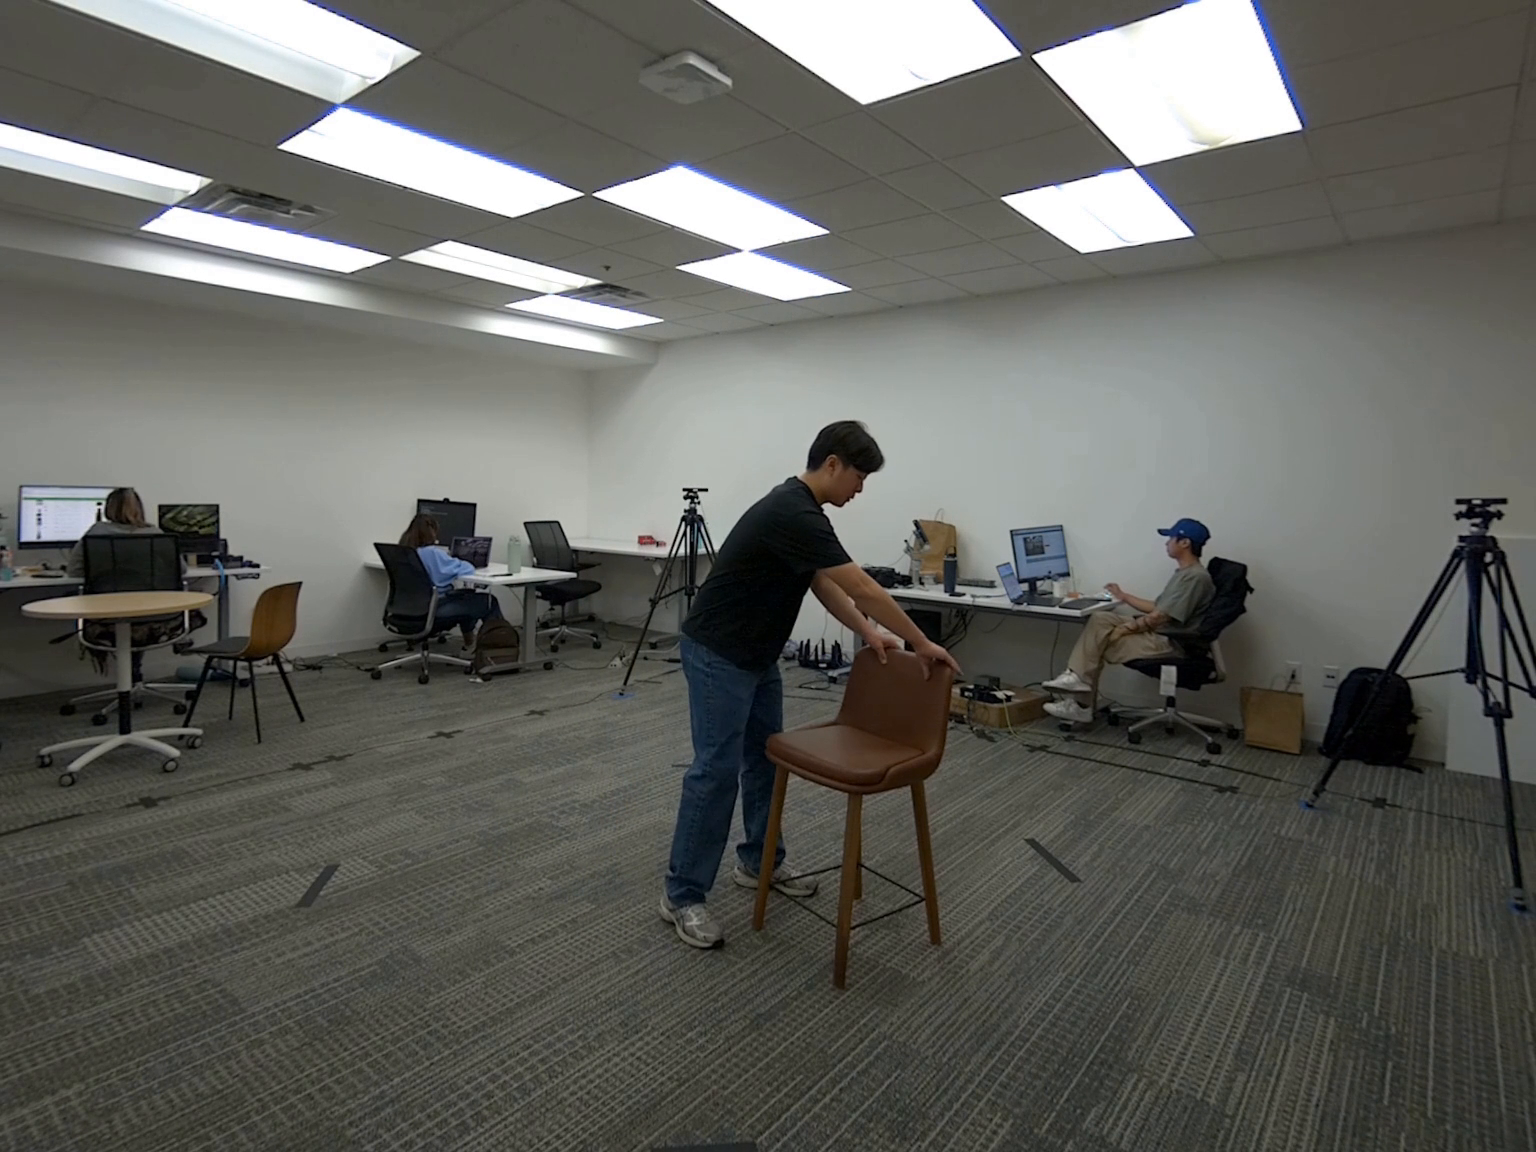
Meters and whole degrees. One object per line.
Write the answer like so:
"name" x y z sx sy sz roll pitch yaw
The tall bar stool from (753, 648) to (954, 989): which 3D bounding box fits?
"tall bar stool" 0.262 0.689 2.641 0.453 0.888 0.471 2 2 -37
